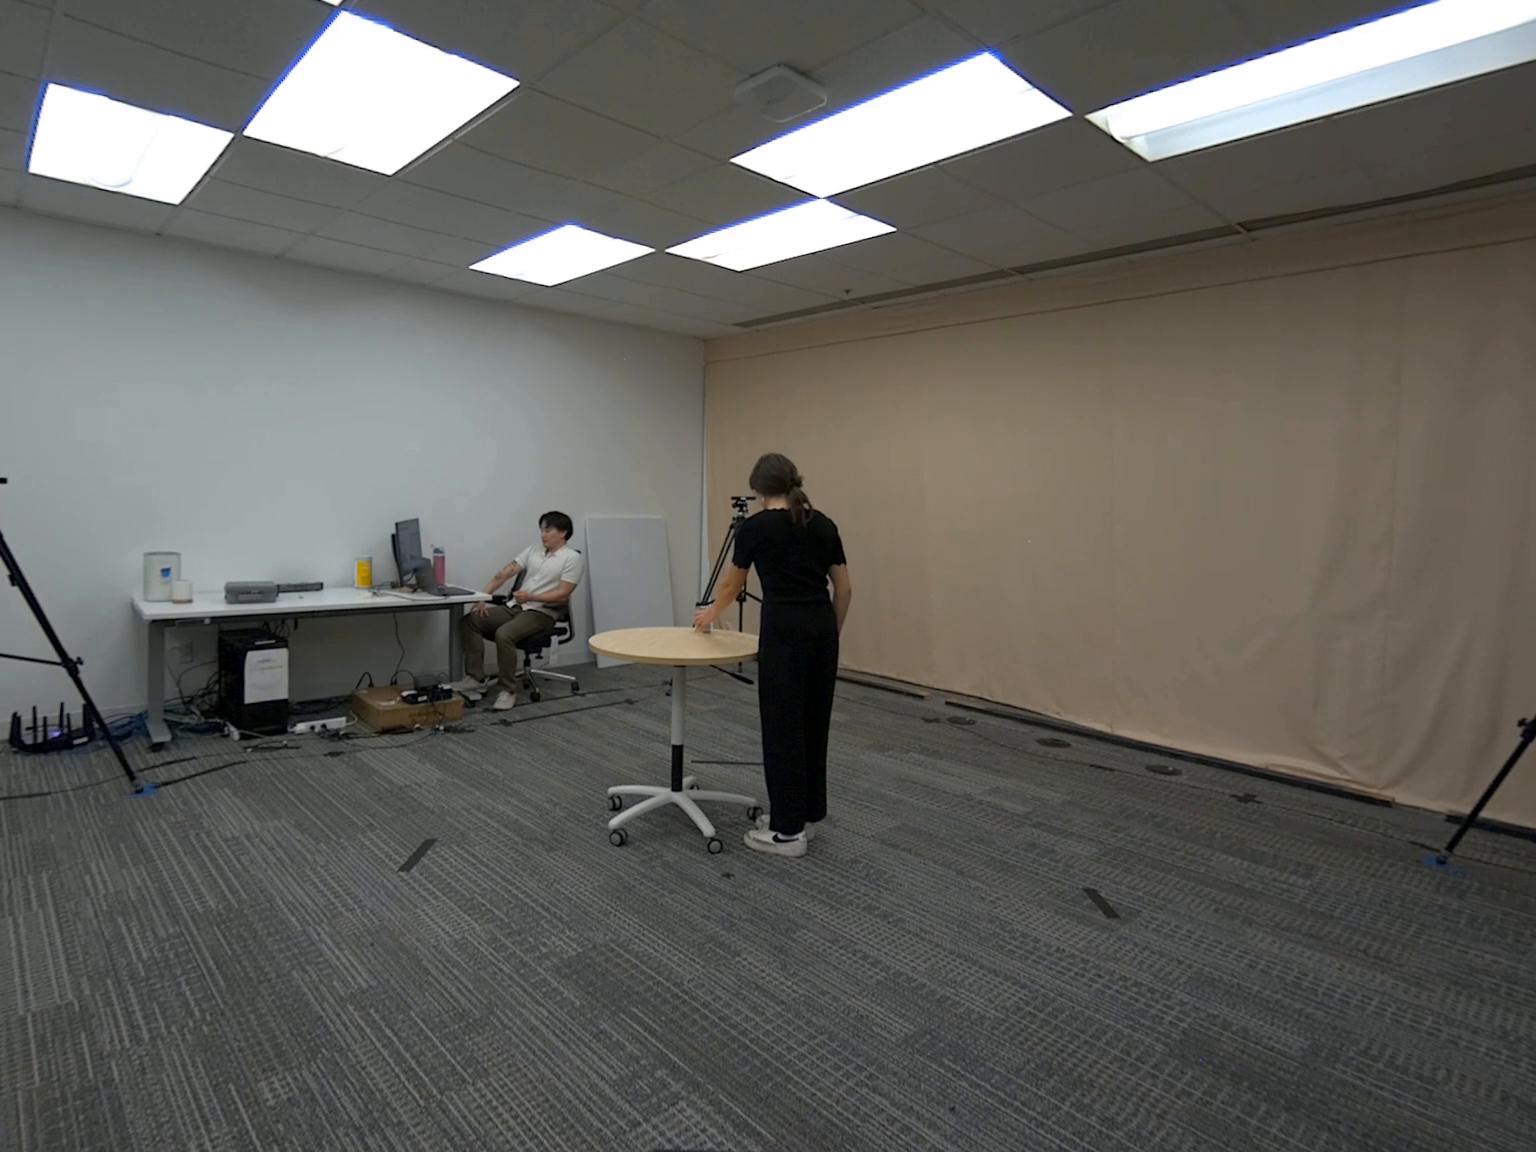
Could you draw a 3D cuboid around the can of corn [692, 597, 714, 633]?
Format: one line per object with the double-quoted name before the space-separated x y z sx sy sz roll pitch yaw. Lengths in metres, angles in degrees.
"can of corn" -0.290 0.195 3.816 0.074 0.111 0.074 2 3 -2
